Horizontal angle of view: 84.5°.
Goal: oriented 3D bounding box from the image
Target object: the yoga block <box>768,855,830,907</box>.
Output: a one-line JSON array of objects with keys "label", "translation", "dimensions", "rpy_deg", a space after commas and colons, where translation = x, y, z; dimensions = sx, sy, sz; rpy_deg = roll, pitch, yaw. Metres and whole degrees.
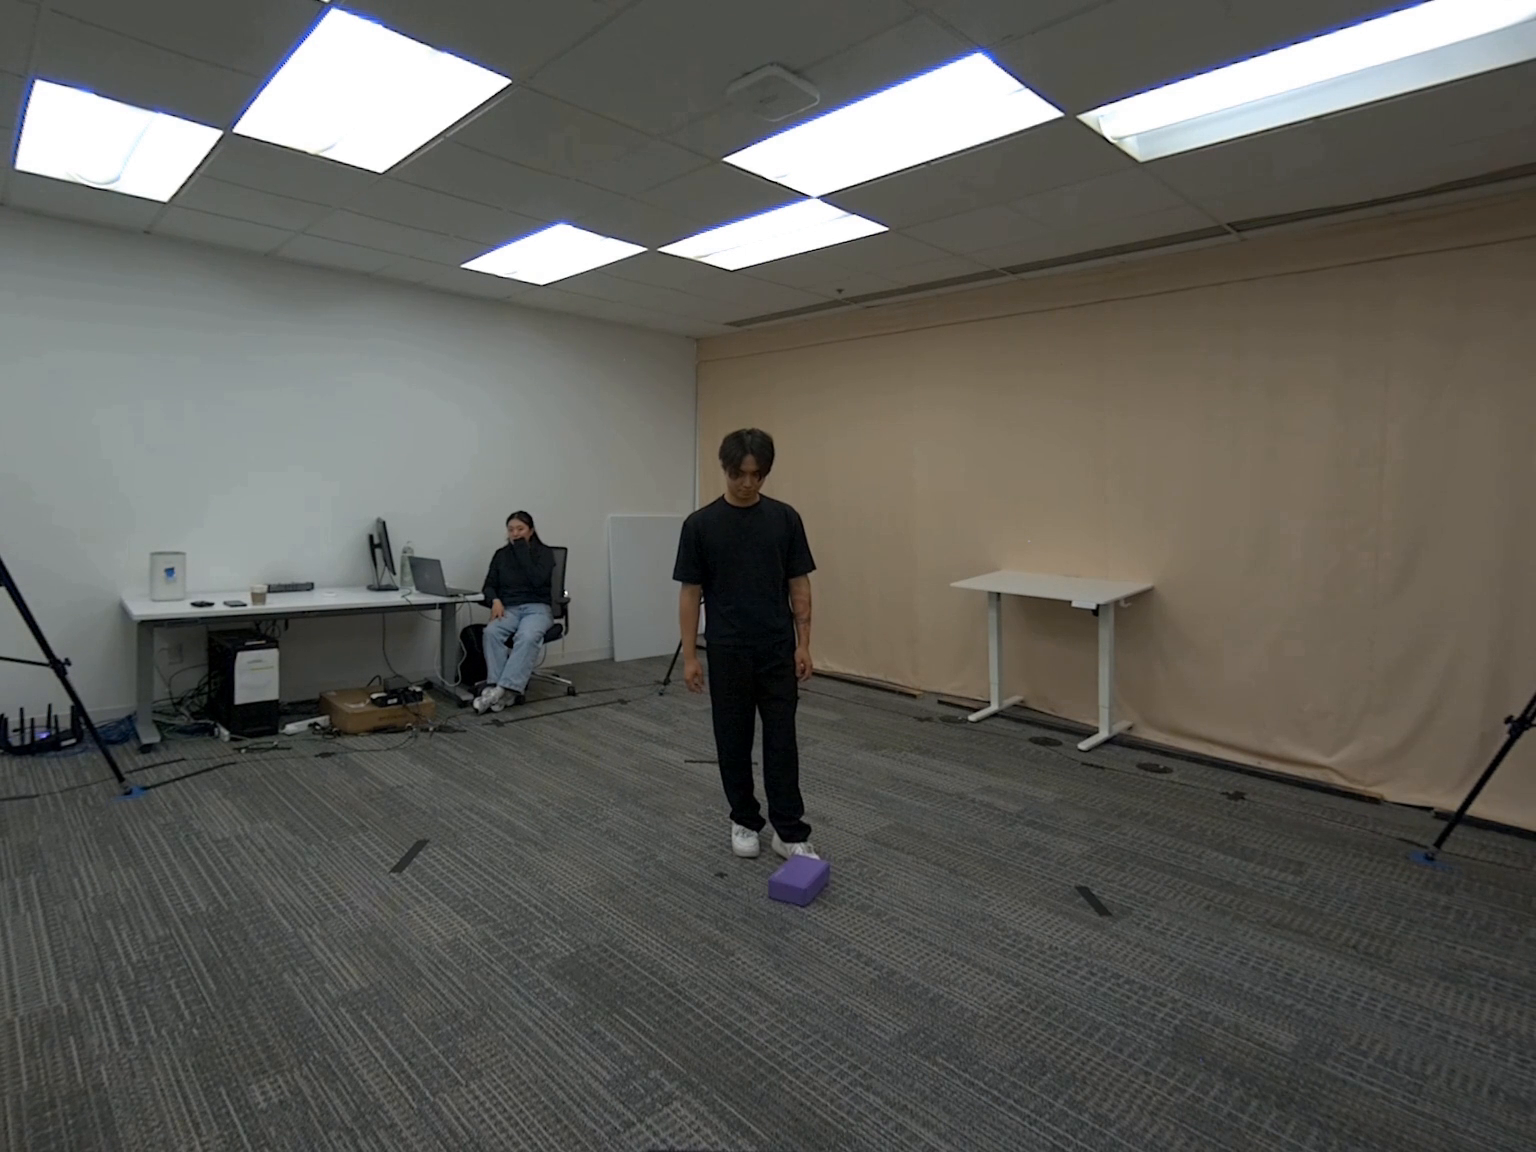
[{"label": "yoga block", "translation": [0.101, 1.082, 2.987], "dimensions": [0.152, 0.076, 0.225], "rpy_deg": [4, 7, 26]}]
